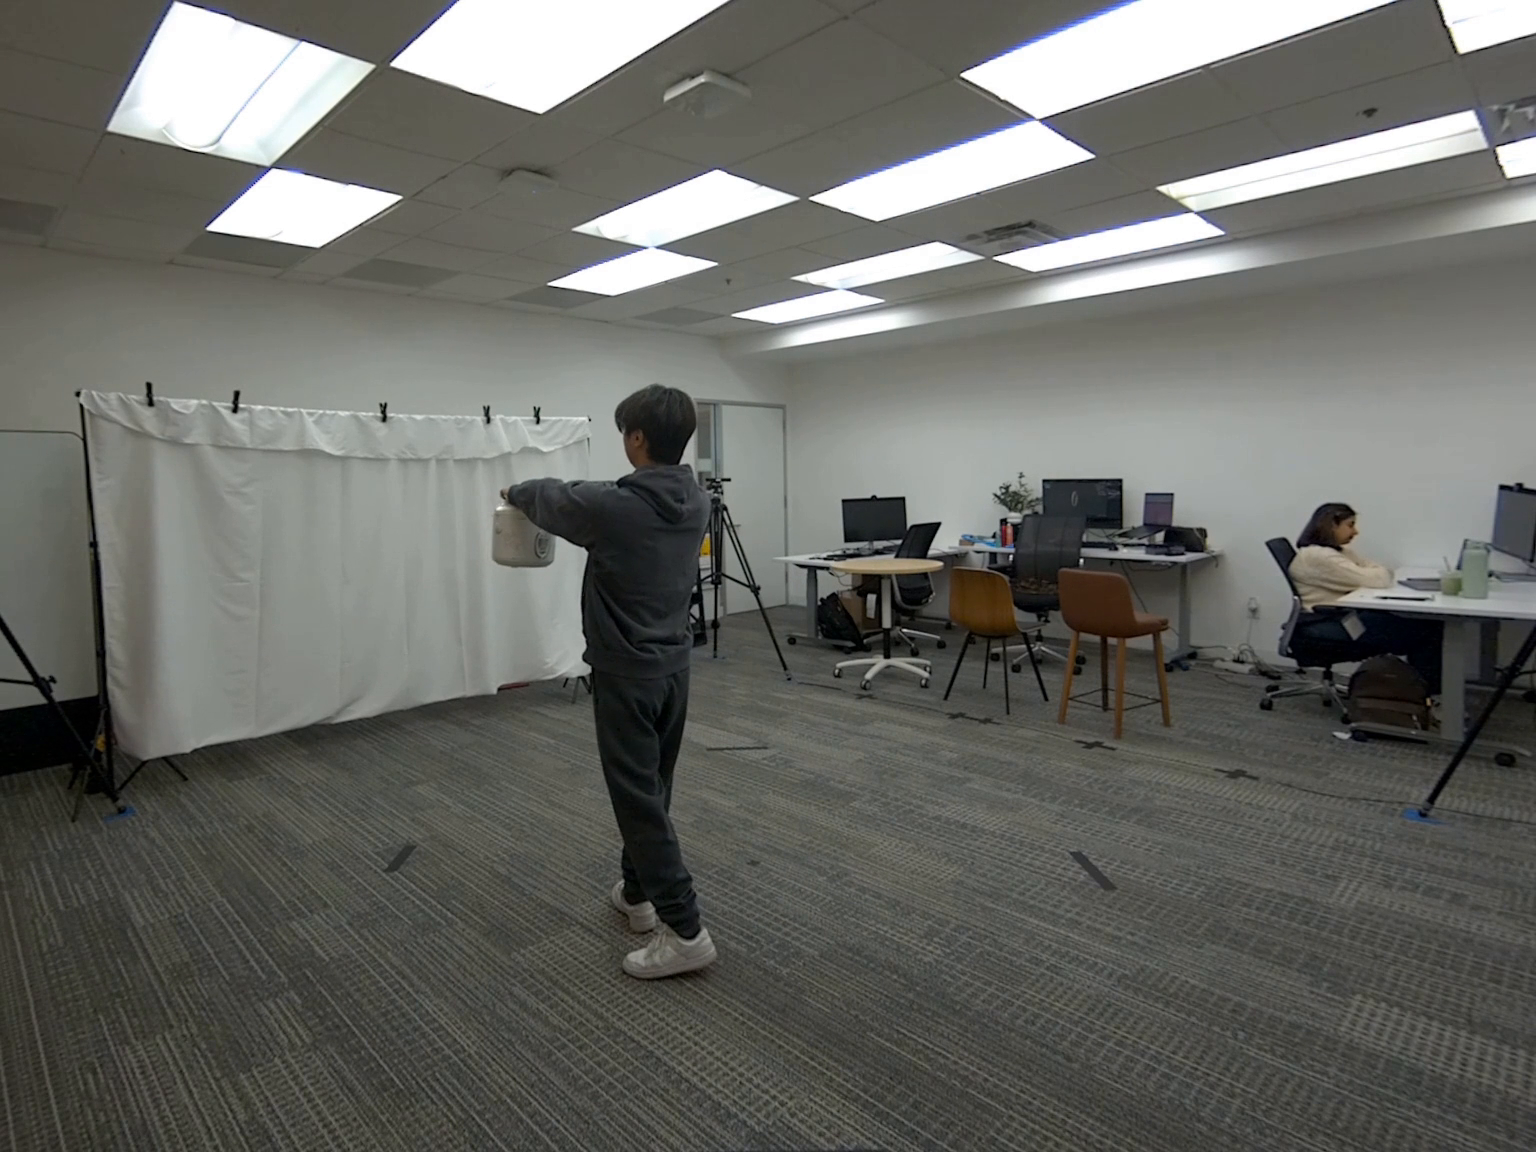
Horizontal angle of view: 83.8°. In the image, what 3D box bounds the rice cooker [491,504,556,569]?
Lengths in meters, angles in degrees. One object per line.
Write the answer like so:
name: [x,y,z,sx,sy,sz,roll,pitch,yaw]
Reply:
rice cooker: [-0.806,-0.149,2.852,0.224,0.232,0.214,6,6,43]
